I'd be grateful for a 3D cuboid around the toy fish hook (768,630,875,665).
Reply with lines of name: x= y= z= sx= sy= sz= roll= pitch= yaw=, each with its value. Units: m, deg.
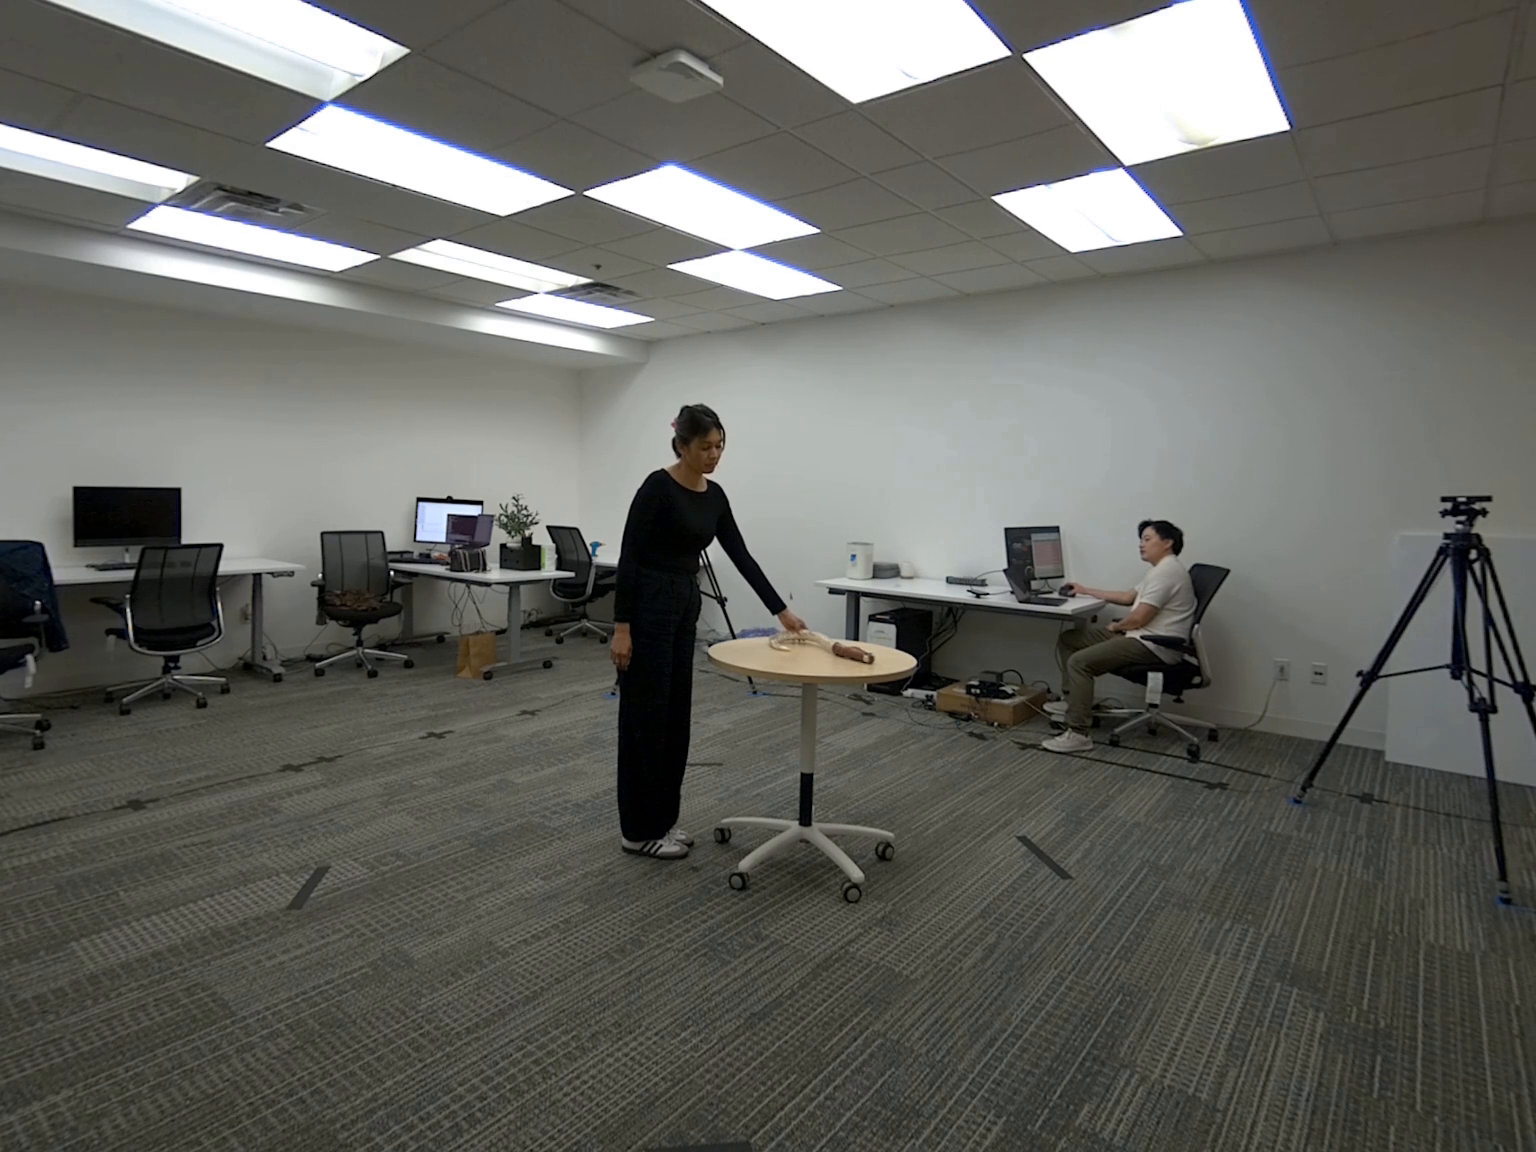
toy fish hook: x=0.188 y=0.273 z=3.186 sx=0.220 sy=0.048 sz=0.522 roll=-12 pitch=11 yaw=-29
